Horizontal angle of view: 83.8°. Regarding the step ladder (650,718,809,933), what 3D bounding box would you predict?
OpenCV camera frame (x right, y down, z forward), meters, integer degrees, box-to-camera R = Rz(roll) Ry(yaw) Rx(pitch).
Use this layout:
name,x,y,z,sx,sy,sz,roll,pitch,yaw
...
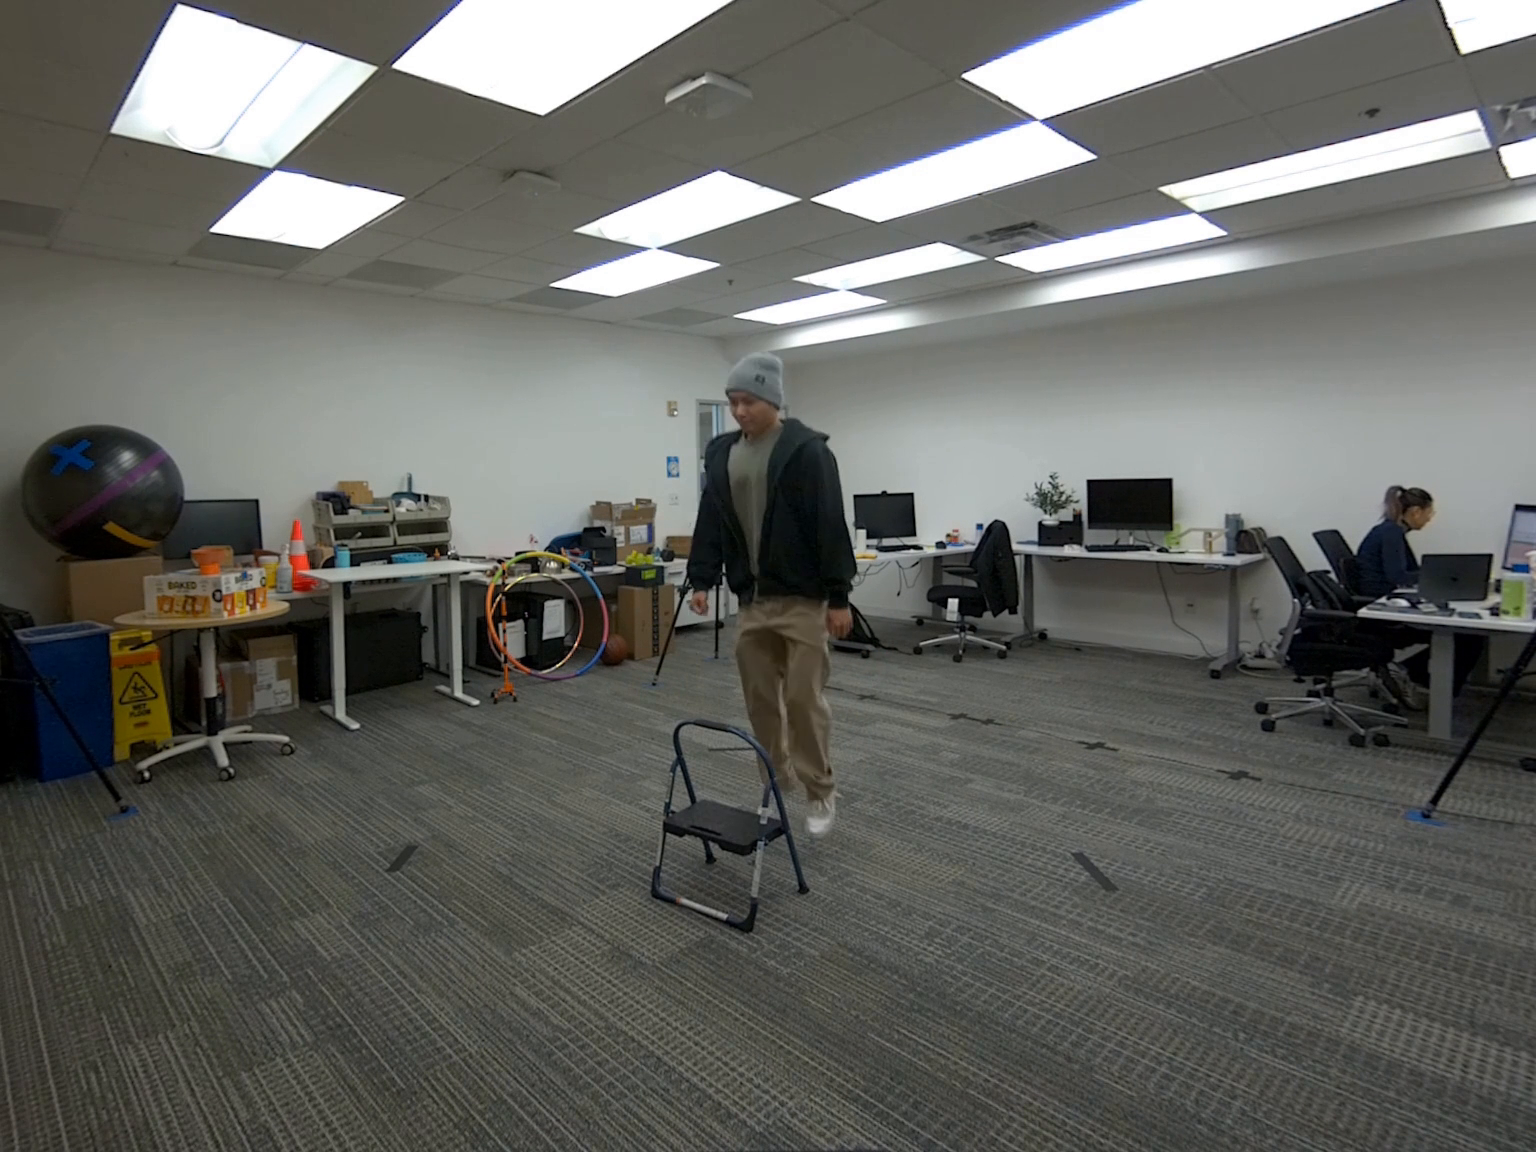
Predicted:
name,x,y,z,sx,sy,sz,roll,pitch,yaw
step ladder,-0.134,0.771,2.865,0.443,0.604,0.341,2,5,35
